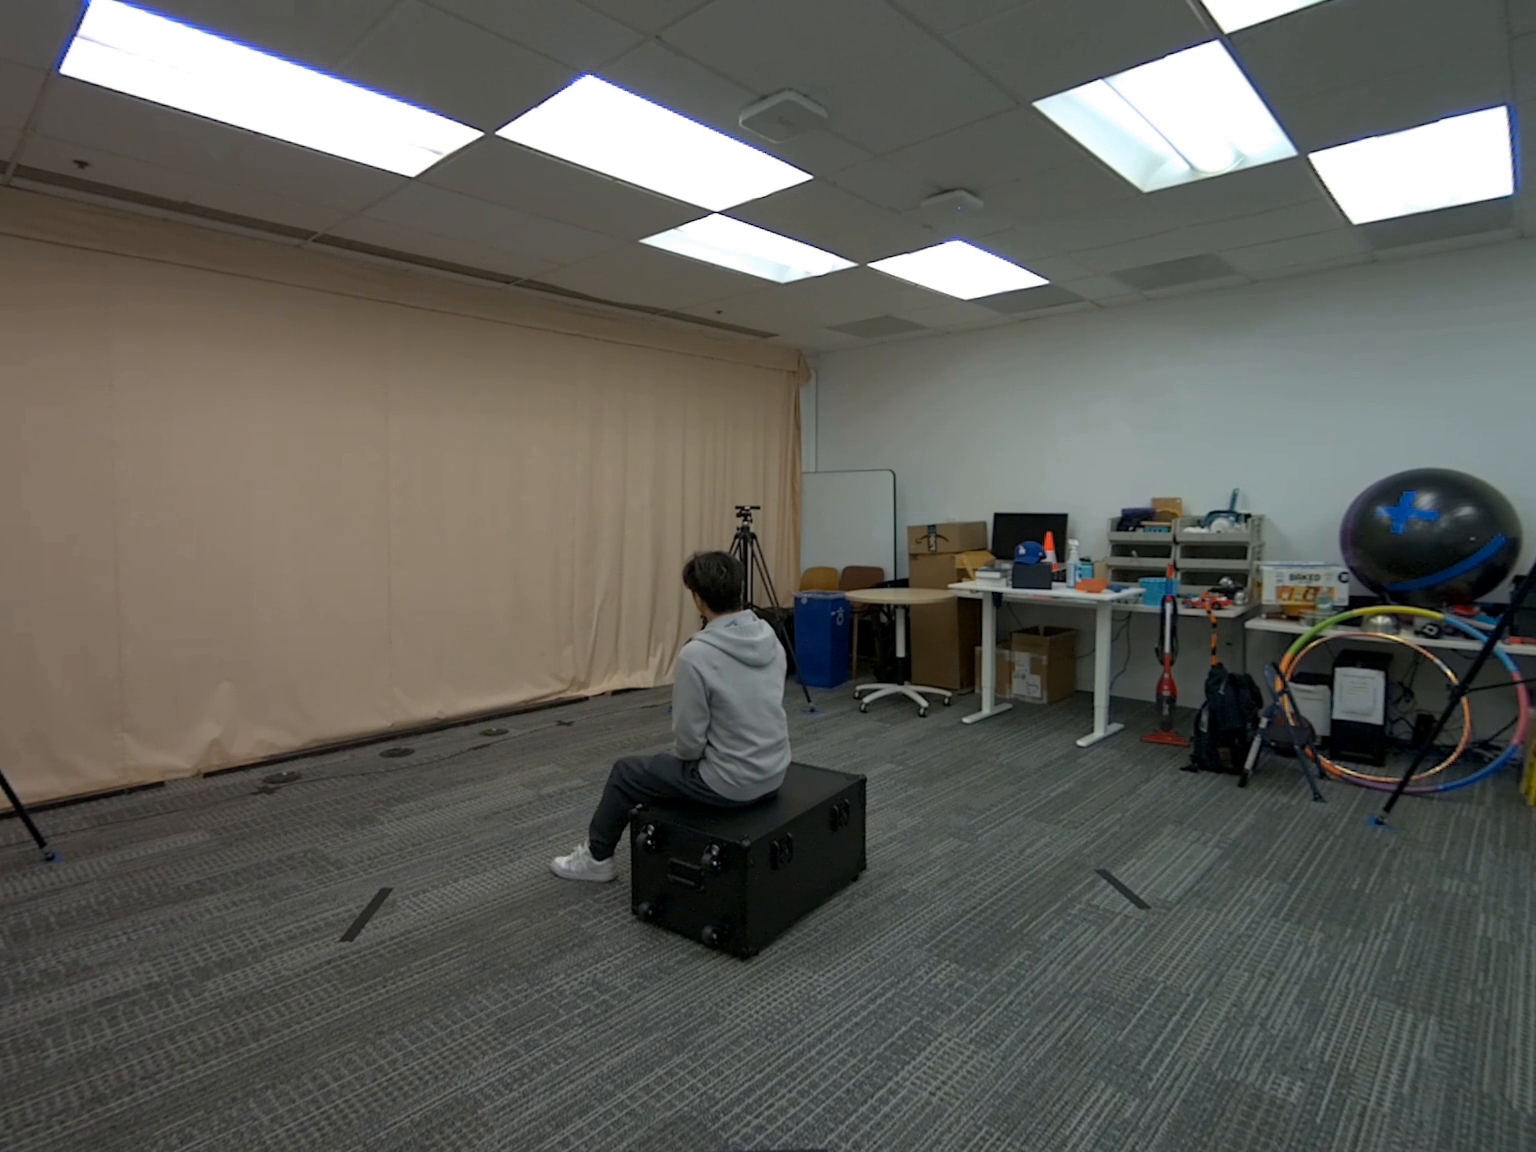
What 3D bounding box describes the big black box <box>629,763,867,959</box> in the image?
[{"bbox_3d":[-0.022,0.959,3.011,0.538,0.395,0.837,3,6,36],"label":"big black box"}]
